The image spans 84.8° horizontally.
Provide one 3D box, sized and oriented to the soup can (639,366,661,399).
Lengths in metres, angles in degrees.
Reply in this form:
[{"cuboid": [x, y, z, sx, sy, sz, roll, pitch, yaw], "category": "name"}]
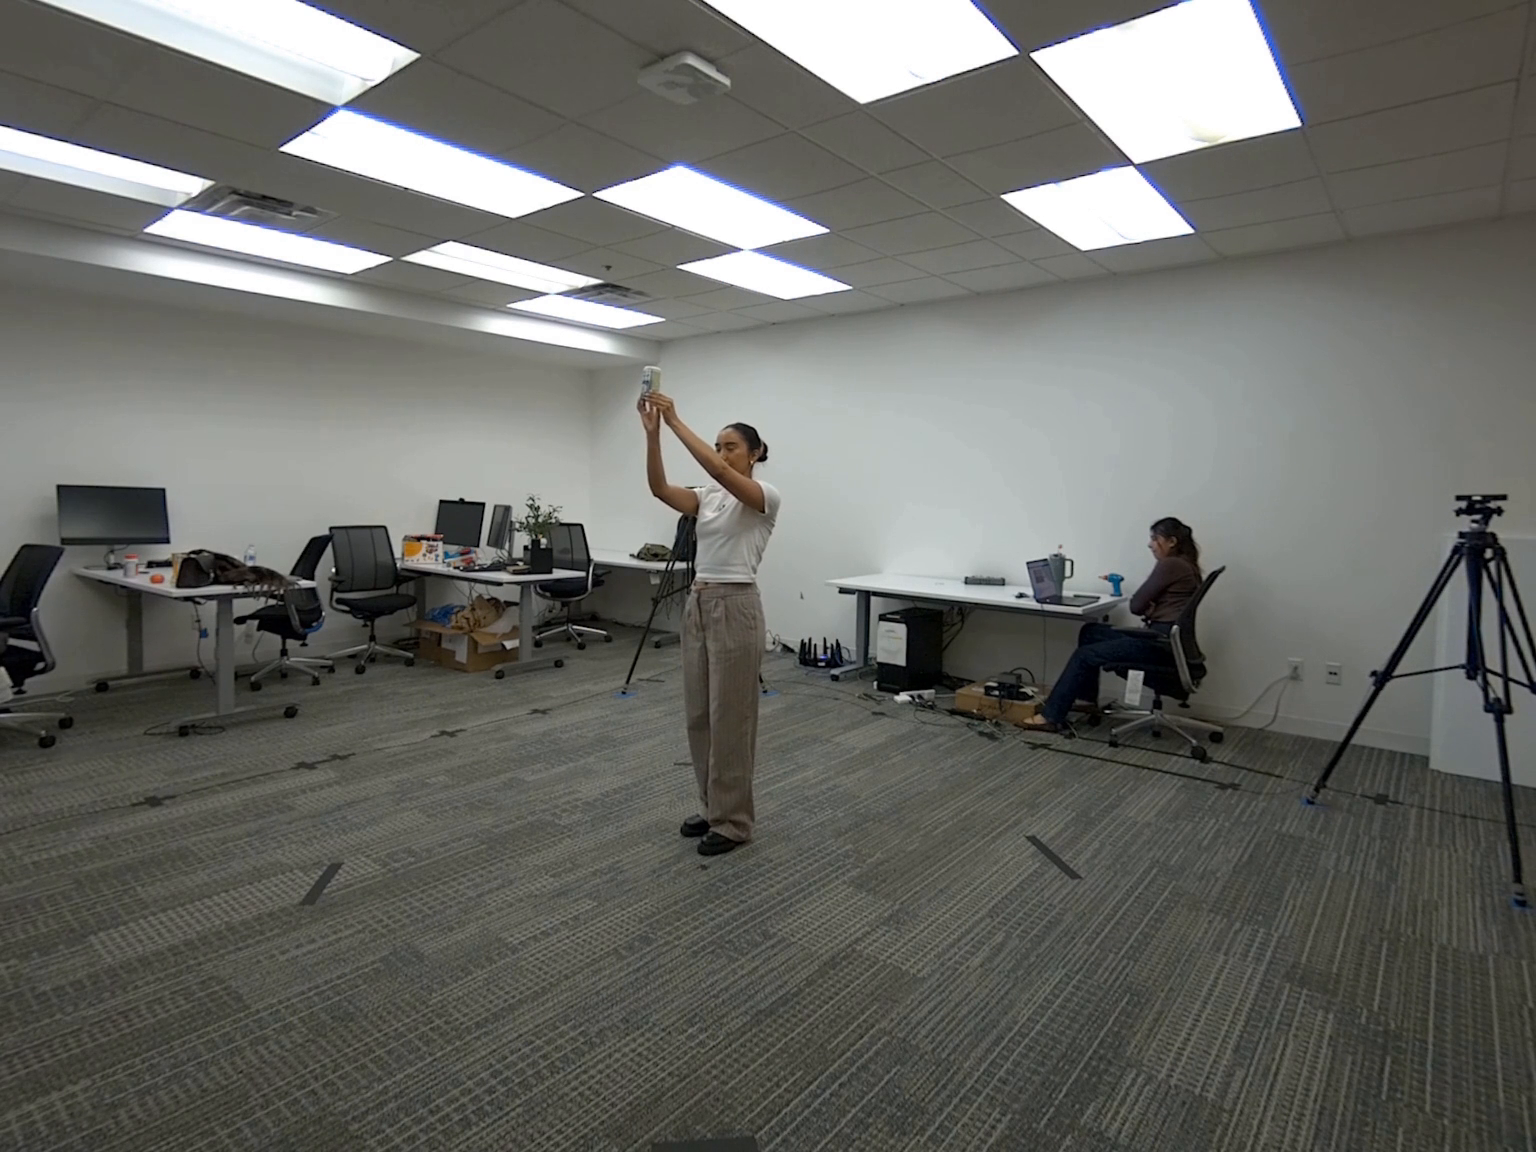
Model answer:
[{"cuboid": [-0.444, -0.716, 3.147, 0.067, 0.122, 0.067, 5, -1, -2], "category": "soup can"}]
